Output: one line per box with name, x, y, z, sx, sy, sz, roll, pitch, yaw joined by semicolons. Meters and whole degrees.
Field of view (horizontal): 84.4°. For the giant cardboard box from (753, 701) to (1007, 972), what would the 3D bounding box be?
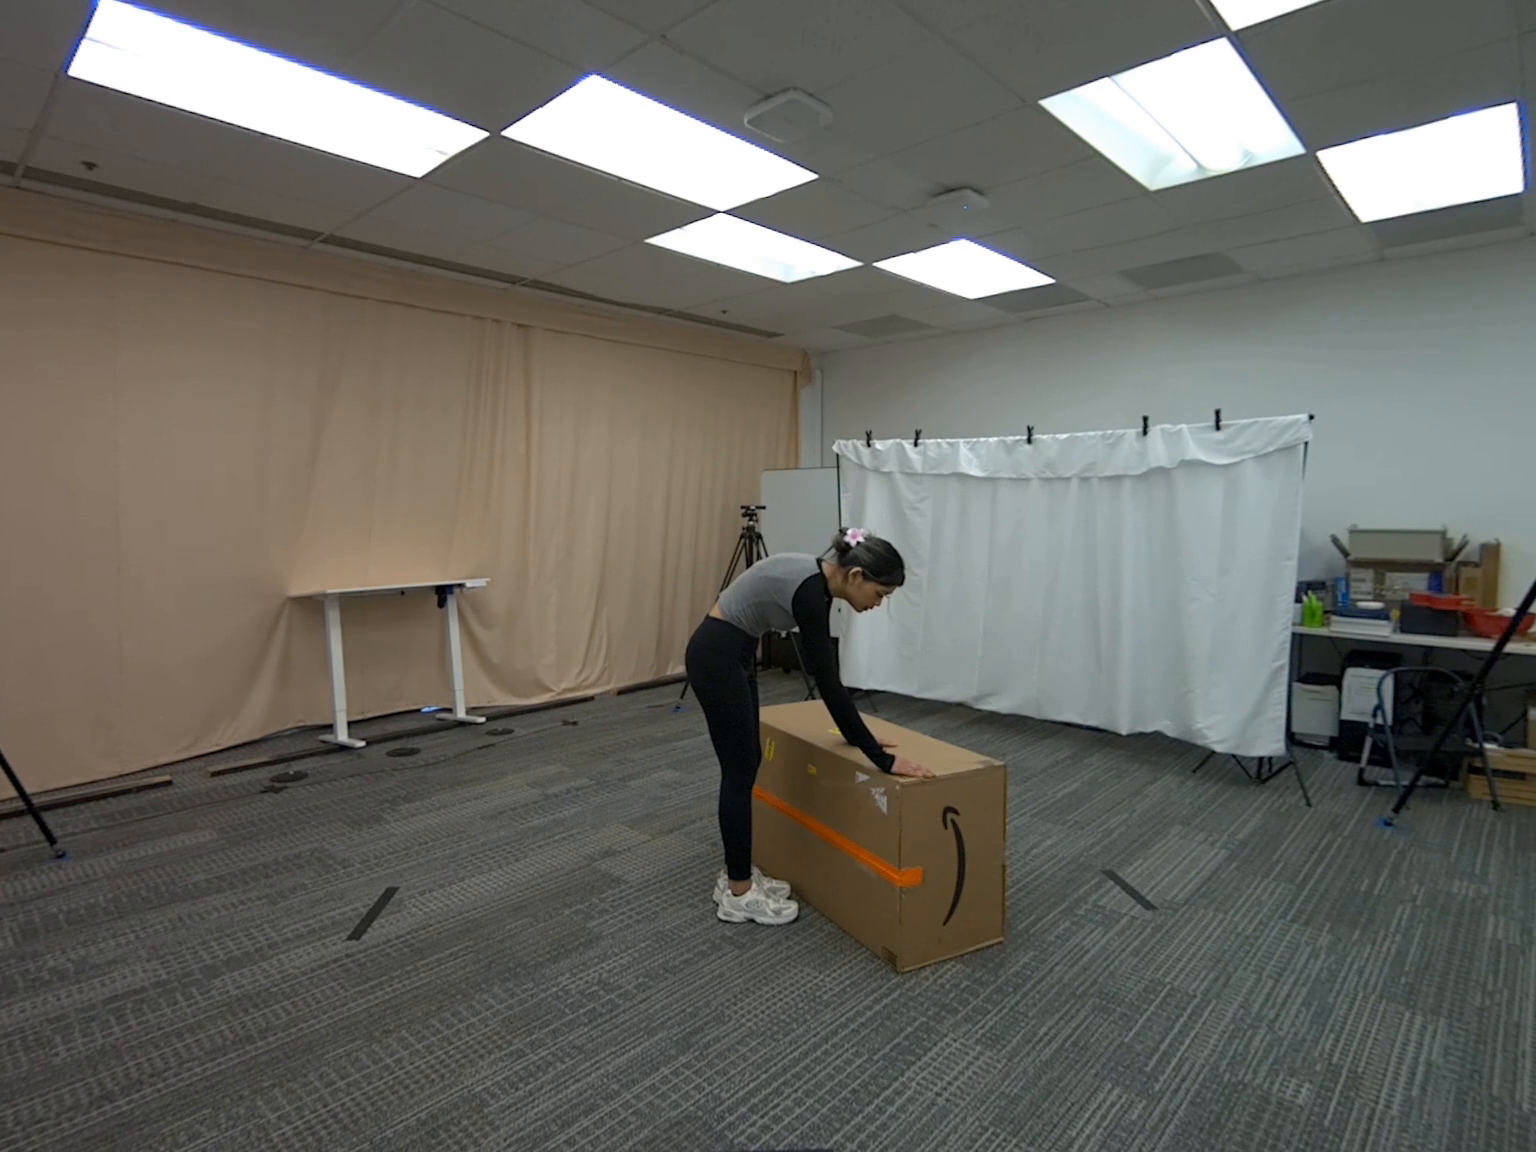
giant cardboard box;0.321;0.850;3.033;0.415;0.576;1.055;-2;4;-29
